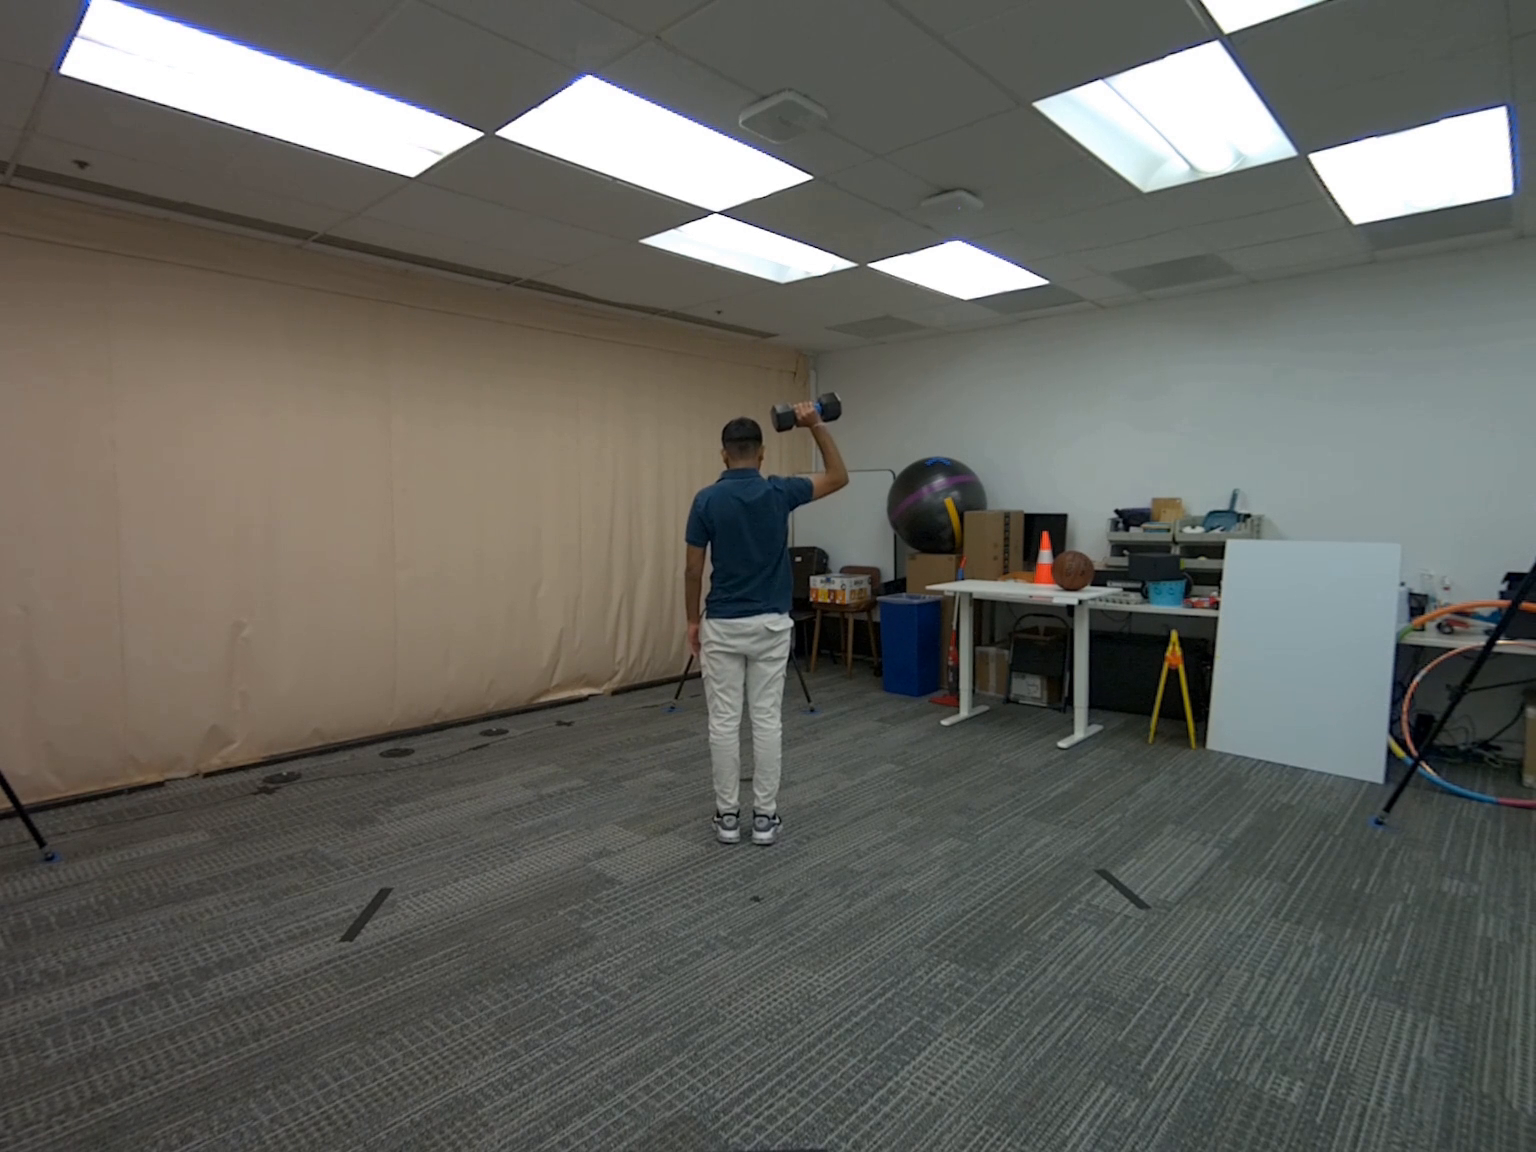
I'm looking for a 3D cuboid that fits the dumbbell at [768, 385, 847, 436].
[{"bbox_3d":[0.162,-0.706,3.601,0.292,0.110,0.122,-15,-11,-7],"label":"dumbbell"}]
